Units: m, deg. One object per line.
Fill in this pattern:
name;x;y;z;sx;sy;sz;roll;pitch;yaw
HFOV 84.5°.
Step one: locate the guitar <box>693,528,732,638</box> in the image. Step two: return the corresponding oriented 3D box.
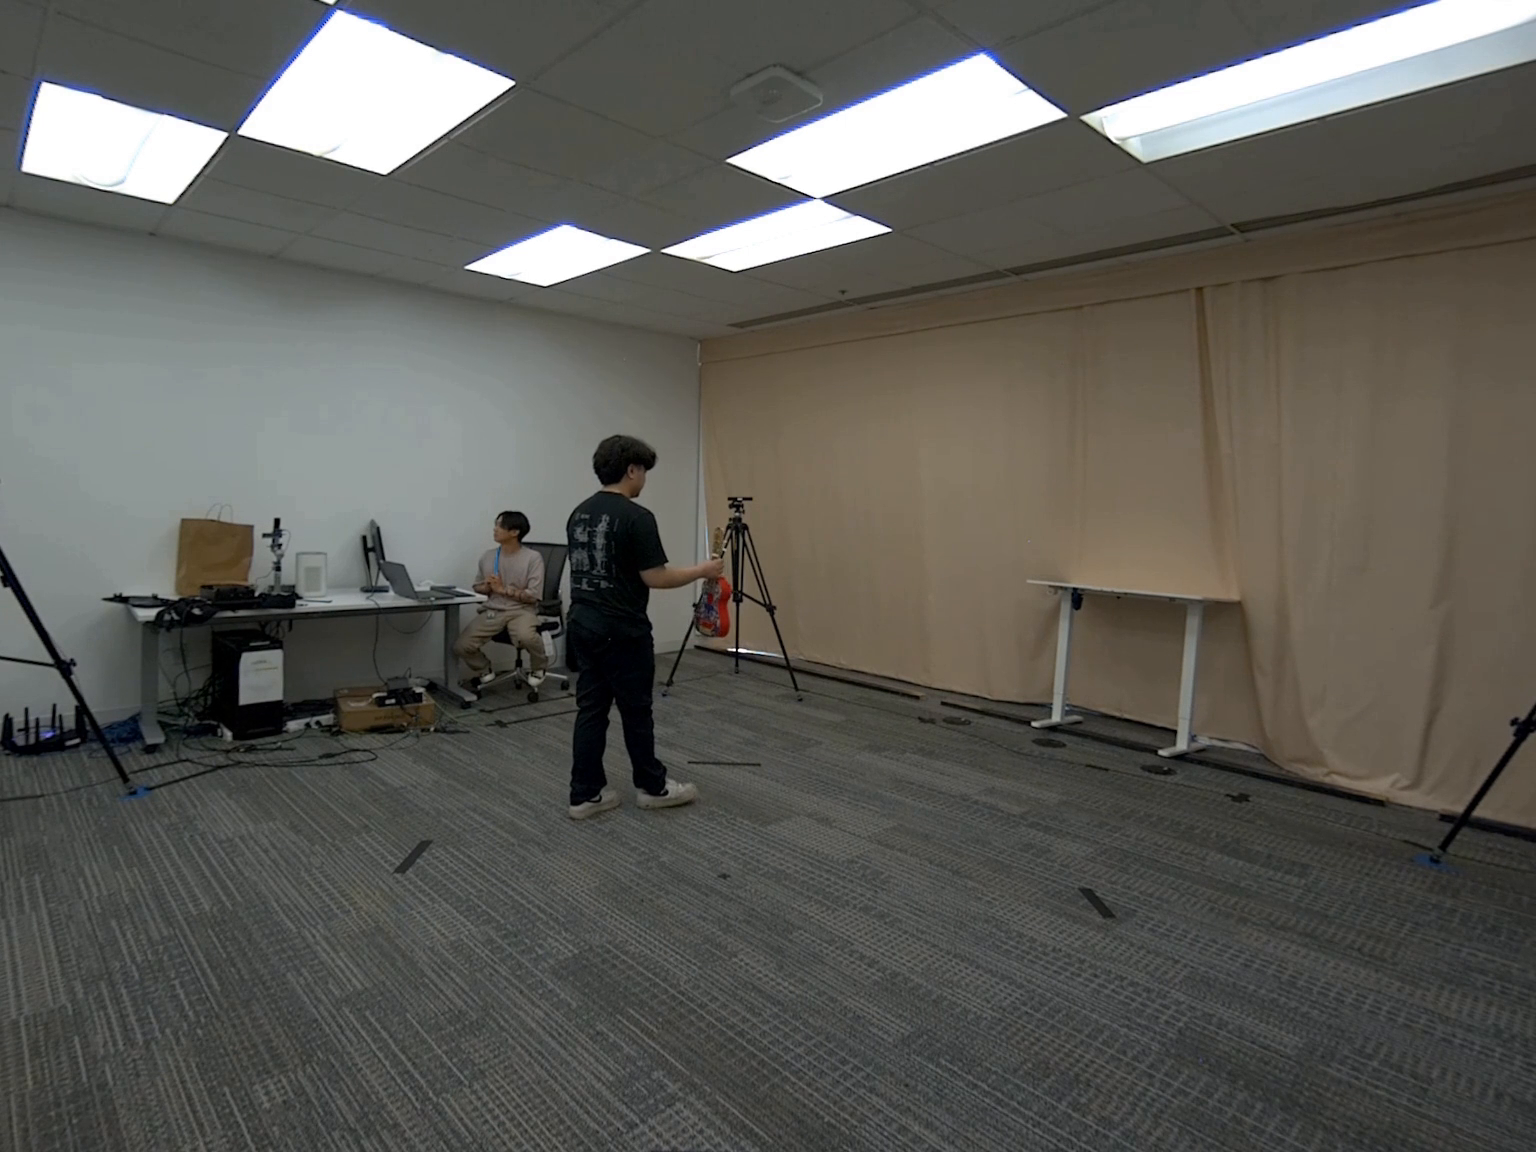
guitar;-0.227;0.037;3.804;0.069;0.495;0.199;3;15;-40
